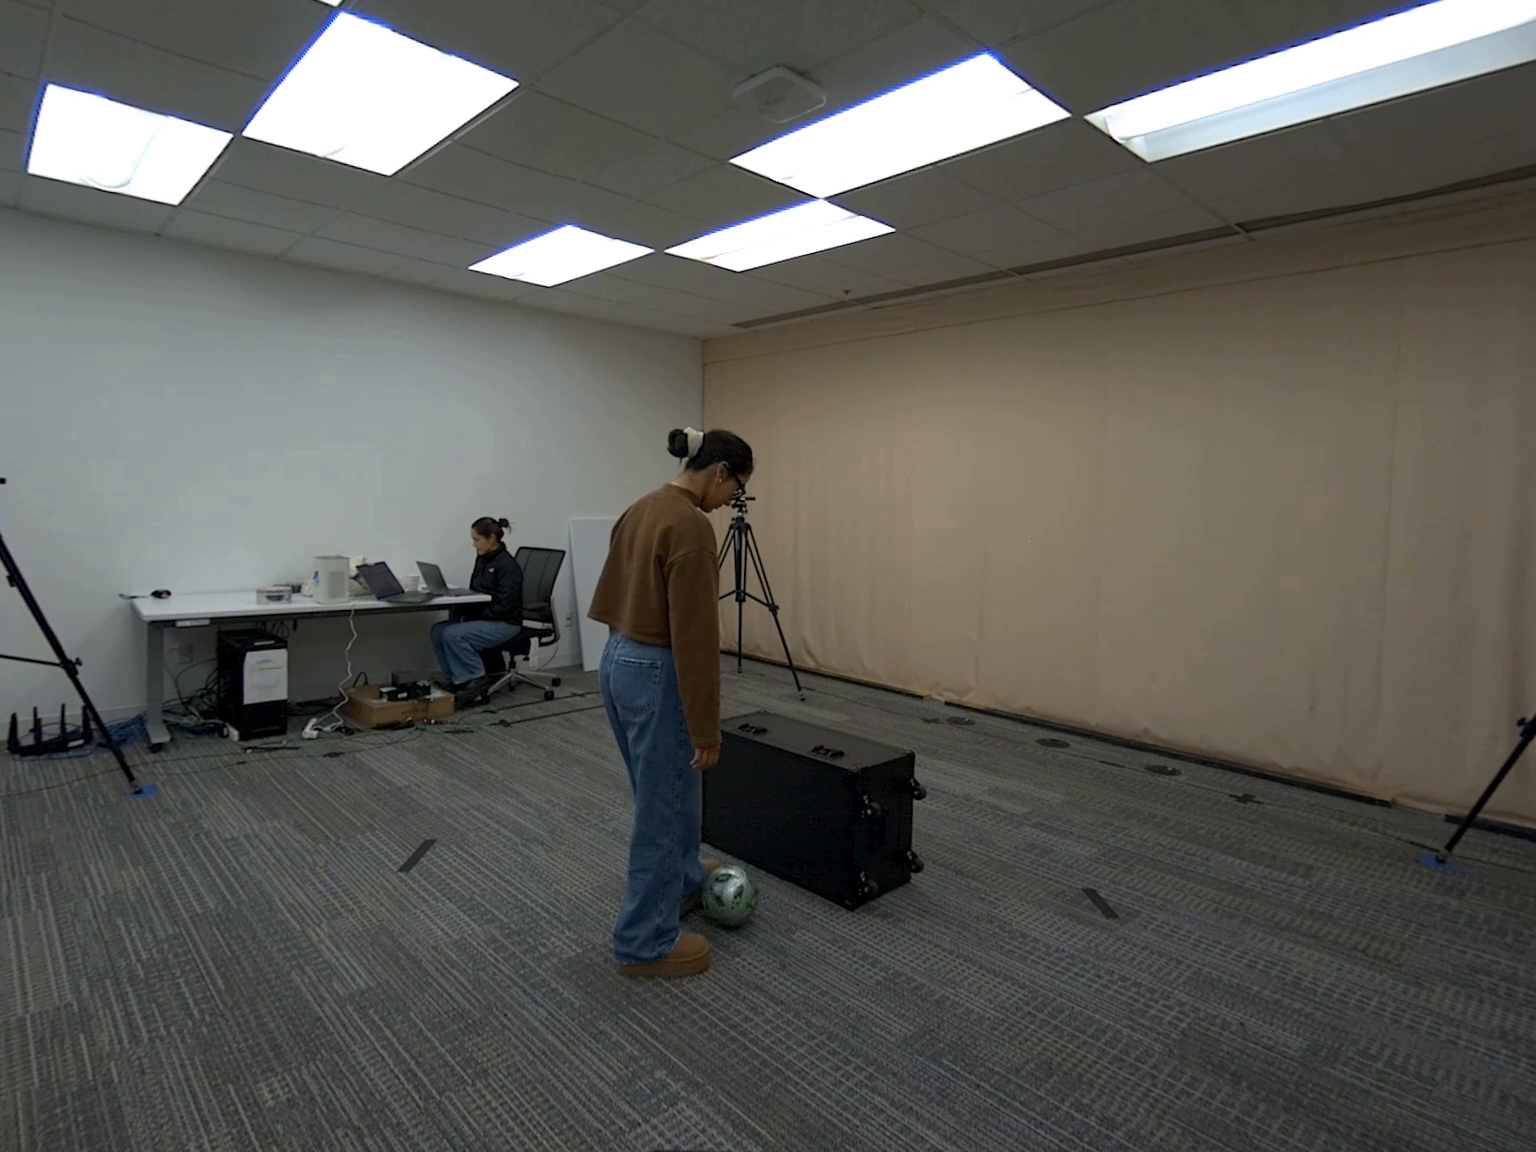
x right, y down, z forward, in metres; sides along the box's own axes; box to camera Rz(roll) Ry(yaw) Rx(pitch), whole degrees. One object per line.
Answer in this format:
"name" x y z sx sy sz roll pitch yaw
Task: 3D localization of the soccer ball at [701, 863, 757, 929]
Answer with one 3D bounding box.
"soccer ball" -0.136 1.046 2.748 0.187 0.187 0.188 1 4 -1
